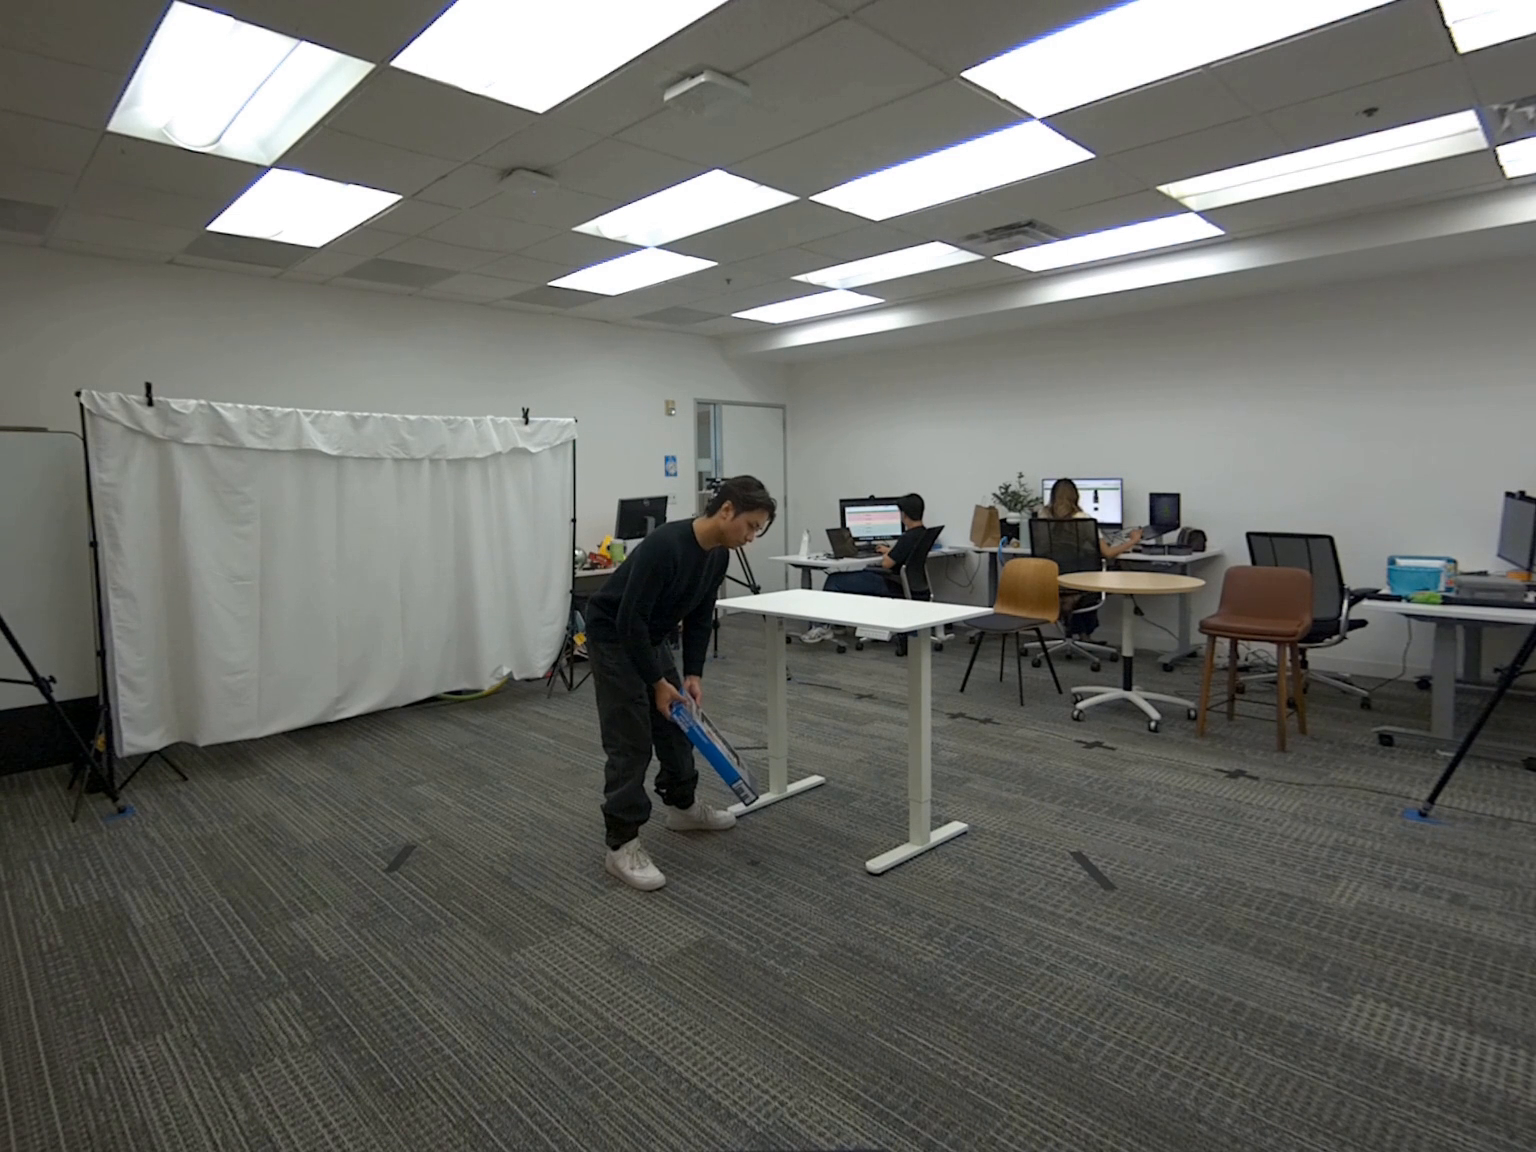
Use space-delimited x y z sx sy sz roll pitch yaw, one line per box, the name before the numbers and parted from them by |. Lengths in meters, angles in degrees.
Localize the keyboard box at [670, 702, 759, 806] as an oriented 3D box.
keyboard box | -0.191 0.603 3.032 0.059 0.432 0.178 -35 9 5
